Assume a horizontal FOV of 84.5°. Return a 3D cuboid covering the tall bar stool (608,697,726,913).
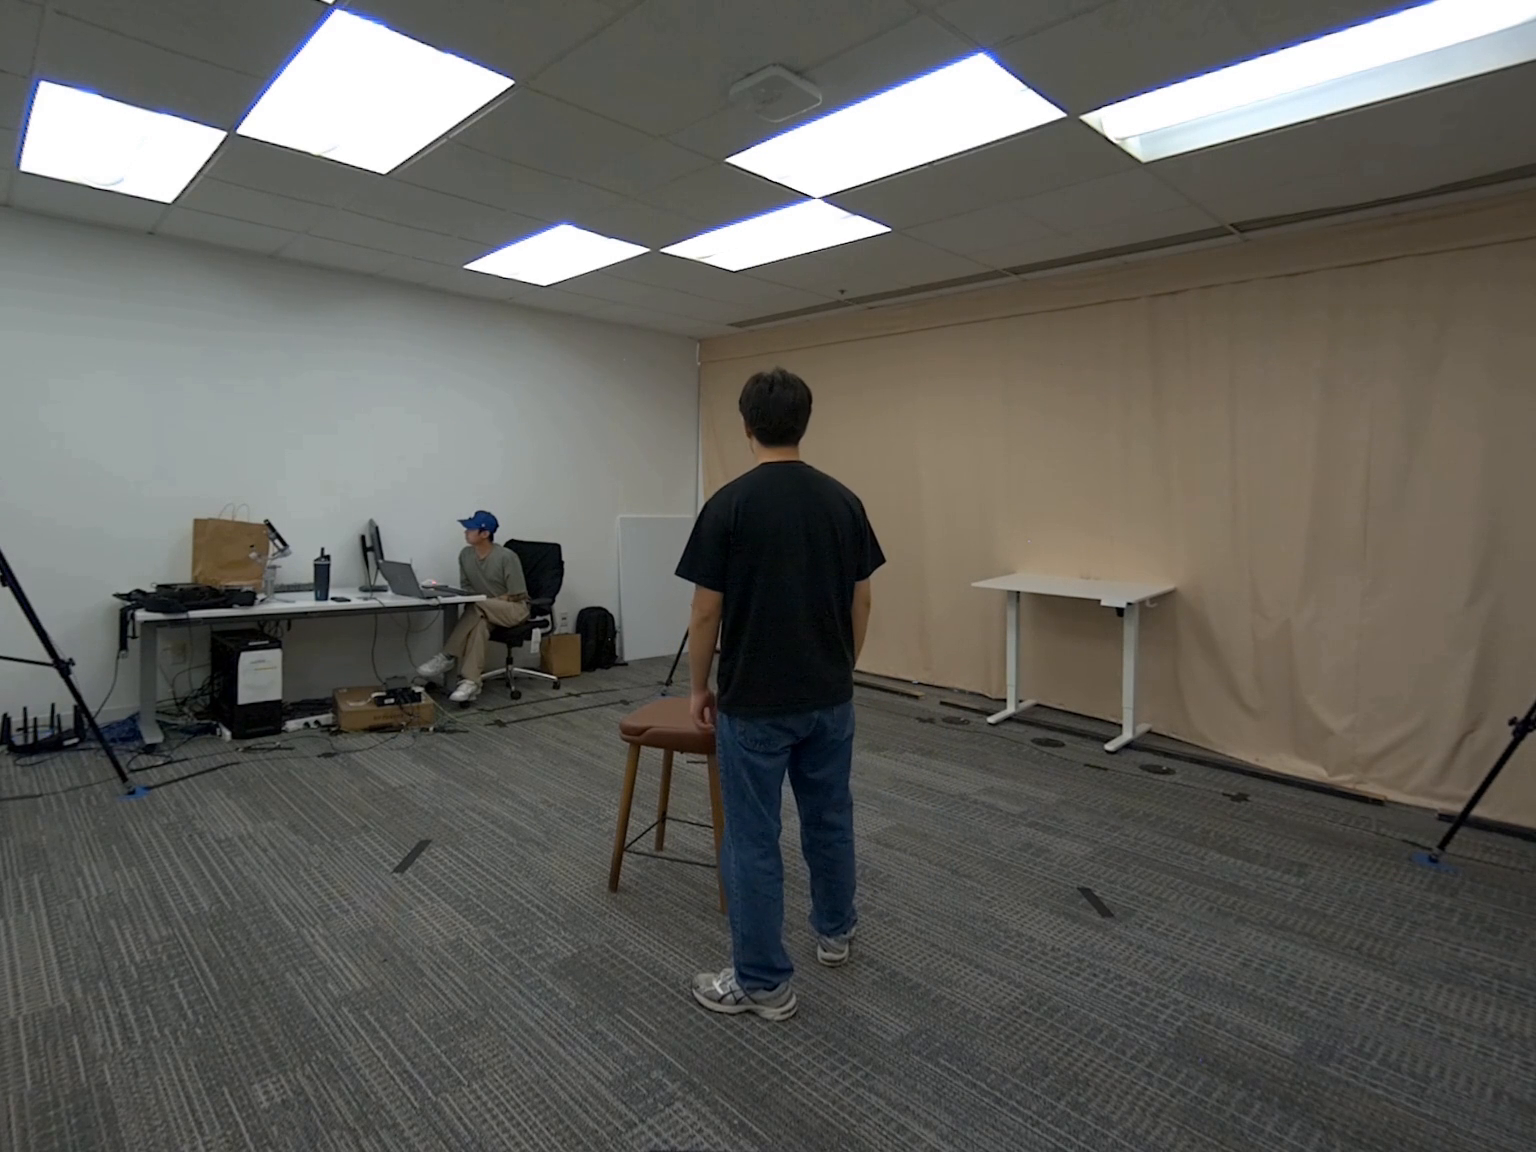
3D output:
[{"bbox_3d":[-0.274,0.679,3.040,0.476,0.887,0.450,4,4,21],"label":"tall bar stool"}]
